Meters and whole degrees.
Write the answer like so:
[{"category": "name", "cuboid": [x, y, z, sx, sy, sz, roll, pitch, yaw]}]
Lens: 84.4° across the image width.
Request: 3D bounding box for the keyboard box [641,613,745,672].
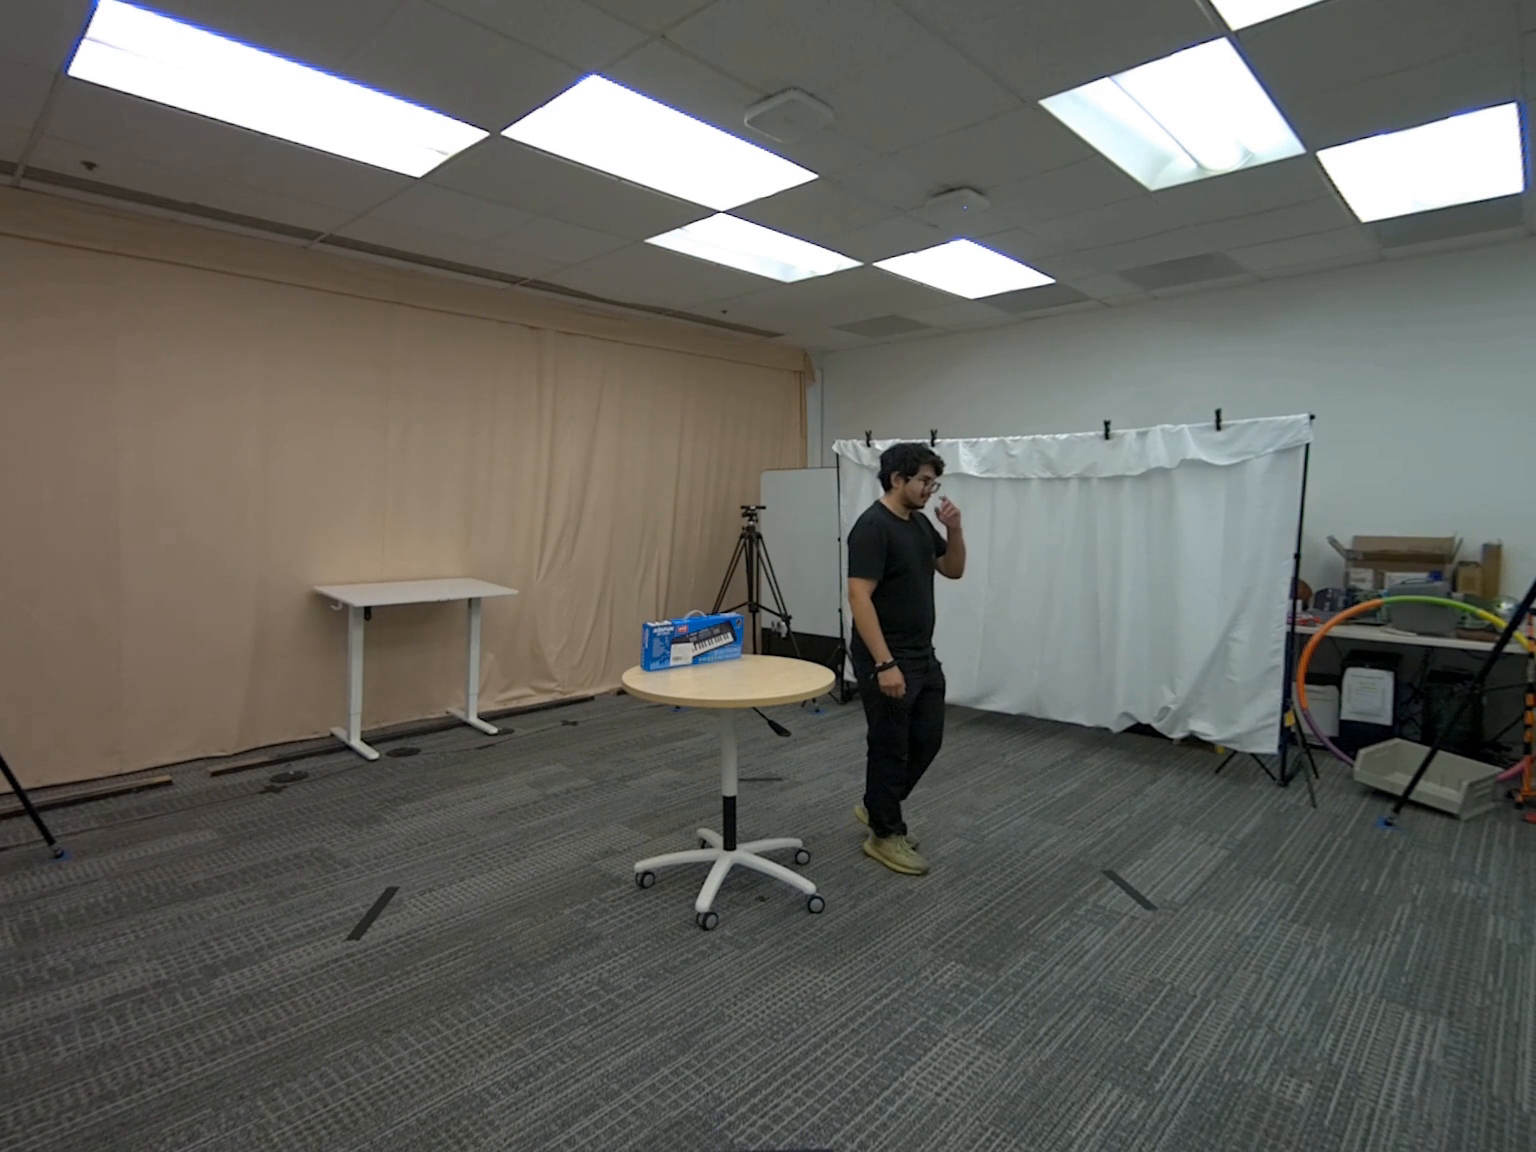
[{"category": "keyboard box", "cuboid": [-0.283, 0.253, 3.240, 0.424, 0.175, 0.061, -4, 11, -38]}]
